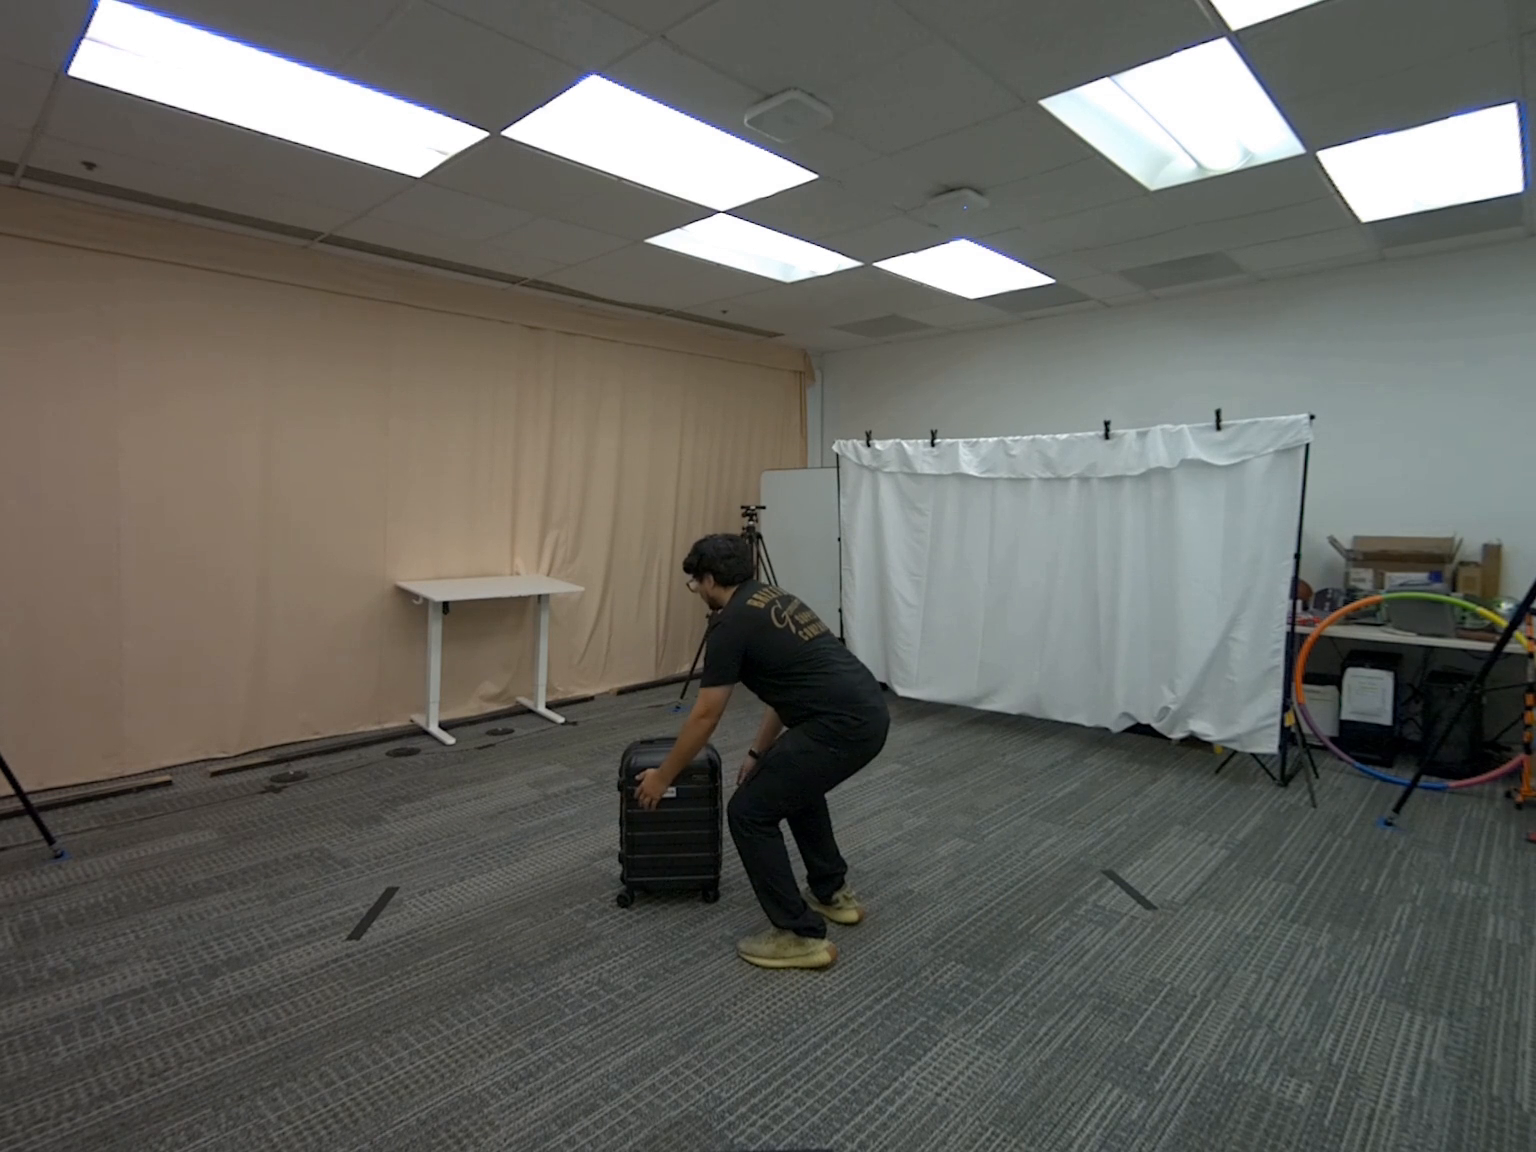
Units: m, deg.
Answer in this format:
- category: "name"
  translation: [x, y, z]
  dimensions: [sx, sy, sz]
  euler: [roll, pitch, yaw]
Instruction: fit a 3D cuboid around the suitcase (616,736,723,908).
- category: "suitcase"
  translation: [-0.348, 0.869, 3.029]
  dimensions: [0.373, 0.548, 0.250]
  euler: [0, 3, -5]
